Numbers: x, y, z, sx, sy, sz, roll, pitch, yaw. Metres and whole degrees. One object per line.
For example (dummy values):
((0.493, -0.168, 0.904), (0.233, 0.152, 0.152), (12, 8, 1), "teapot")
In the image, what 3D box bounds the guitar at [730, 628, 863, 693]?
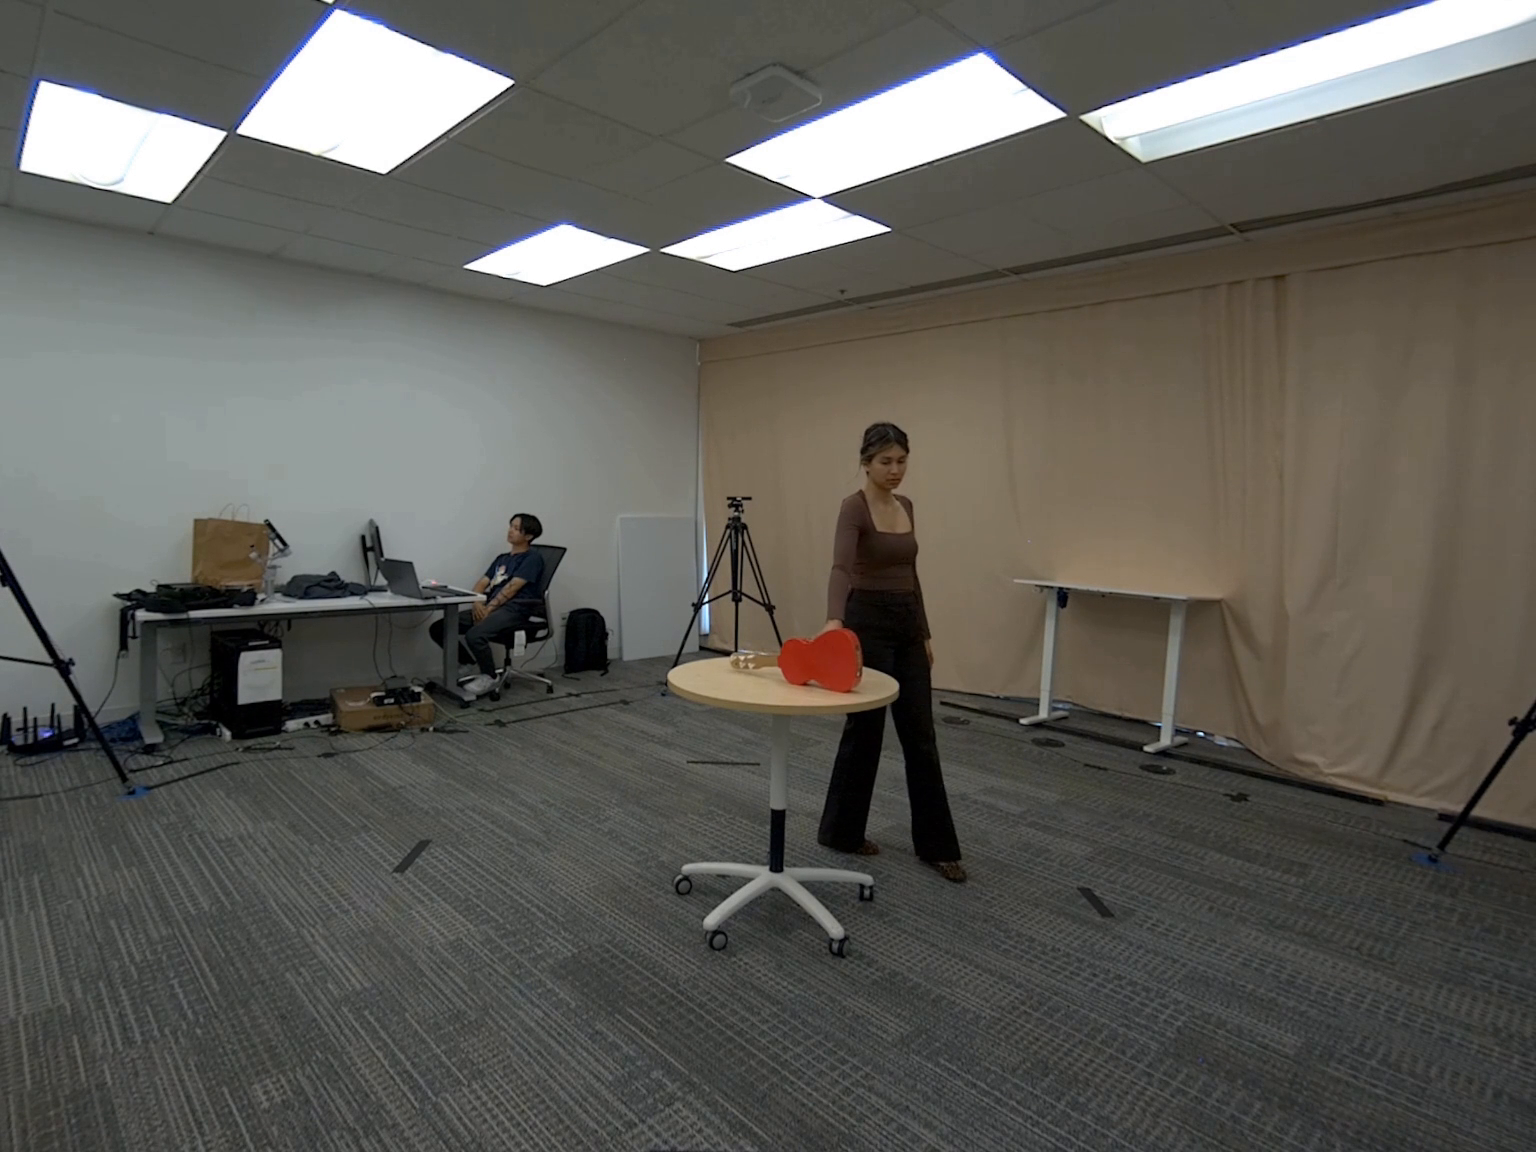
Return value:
((0.073, 0.306, 2.743), (0.505, 0.194, 0.069), (-15, -7, 33), "guitar")
